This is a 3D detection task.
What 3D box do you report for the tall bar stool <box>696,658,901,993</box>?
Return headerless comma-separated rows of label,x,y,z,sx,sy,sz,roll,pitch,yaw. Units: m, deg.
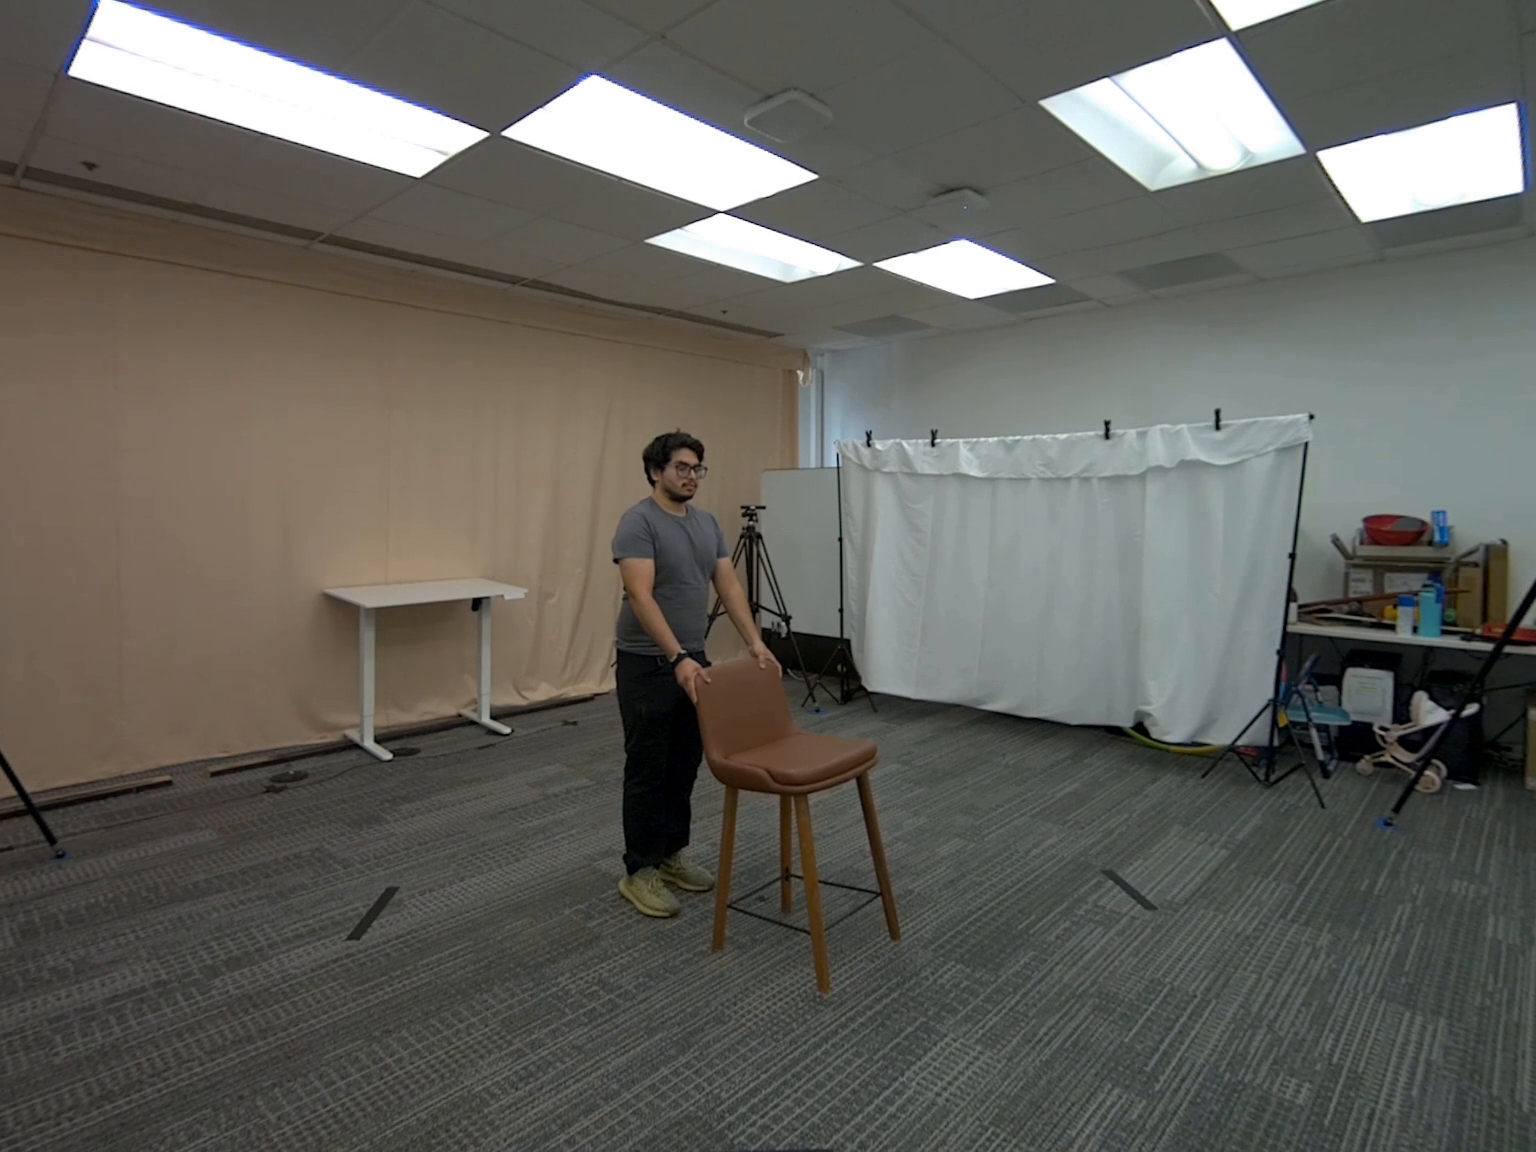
tall bar stool,0.078,0.720,2.635,0.481,0.891,0.443,-7,-2,42
